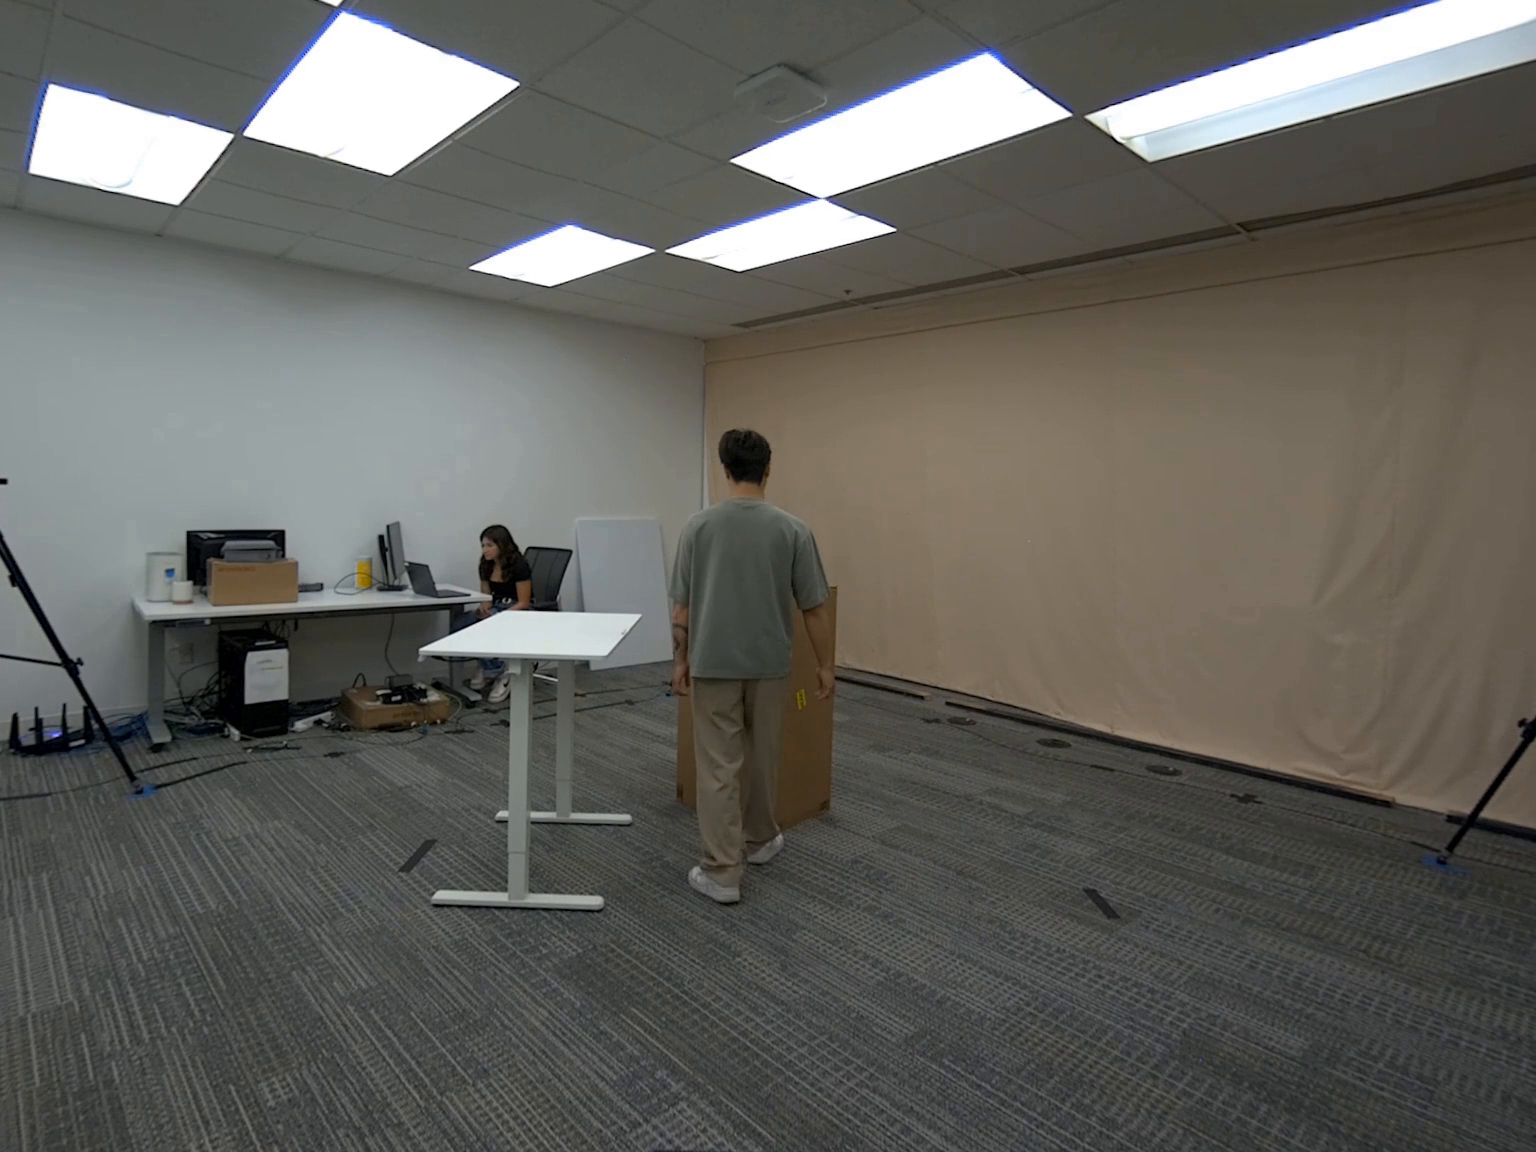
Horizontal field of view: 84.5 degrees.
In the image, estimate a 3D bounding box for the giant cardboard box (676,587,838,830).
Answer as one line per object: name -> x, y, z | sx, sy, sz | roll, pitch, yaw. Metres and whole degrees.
giant cardboard box -> -0.062, 0.539, 3.821 | 0.592, 1.023, 0.416 | 4, 4, 40
